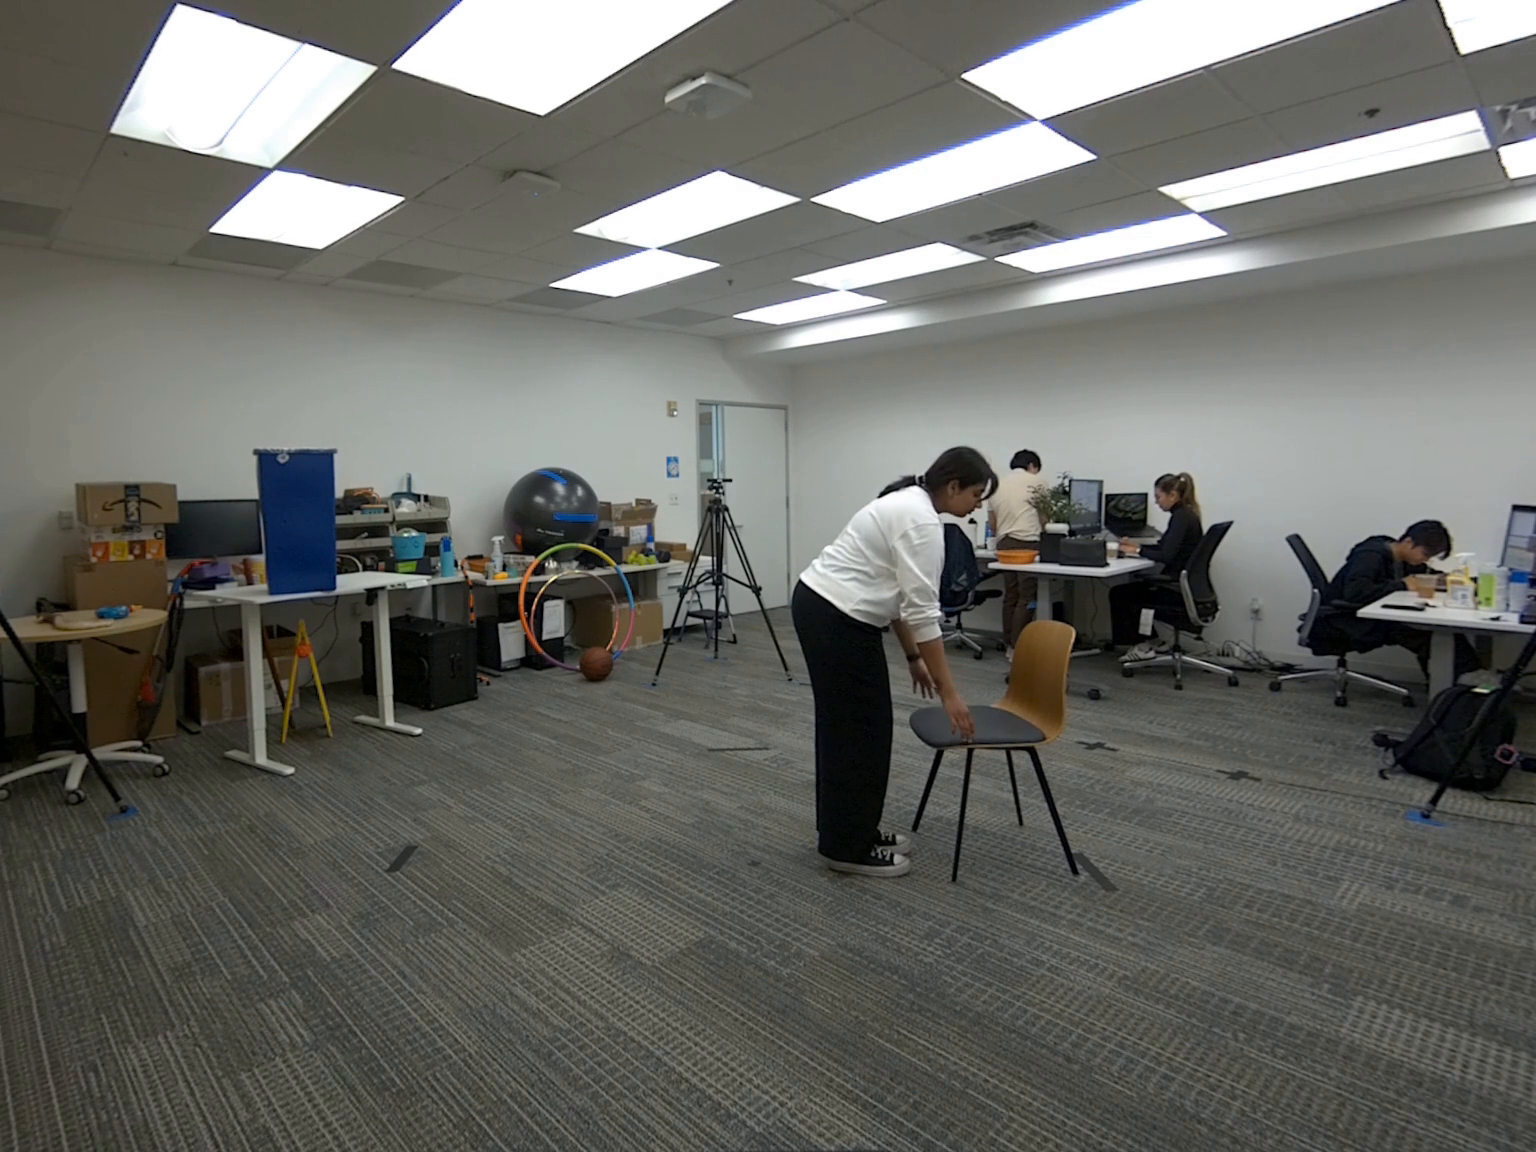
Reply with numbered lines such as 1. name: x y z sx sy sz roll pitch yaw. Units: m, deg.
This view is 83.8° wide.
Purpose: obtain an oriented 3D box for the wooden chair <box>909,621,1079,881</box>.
1. wooden chair: 0.805 0.595 3.141 0.520 0.874 0.483 3 4 -7
